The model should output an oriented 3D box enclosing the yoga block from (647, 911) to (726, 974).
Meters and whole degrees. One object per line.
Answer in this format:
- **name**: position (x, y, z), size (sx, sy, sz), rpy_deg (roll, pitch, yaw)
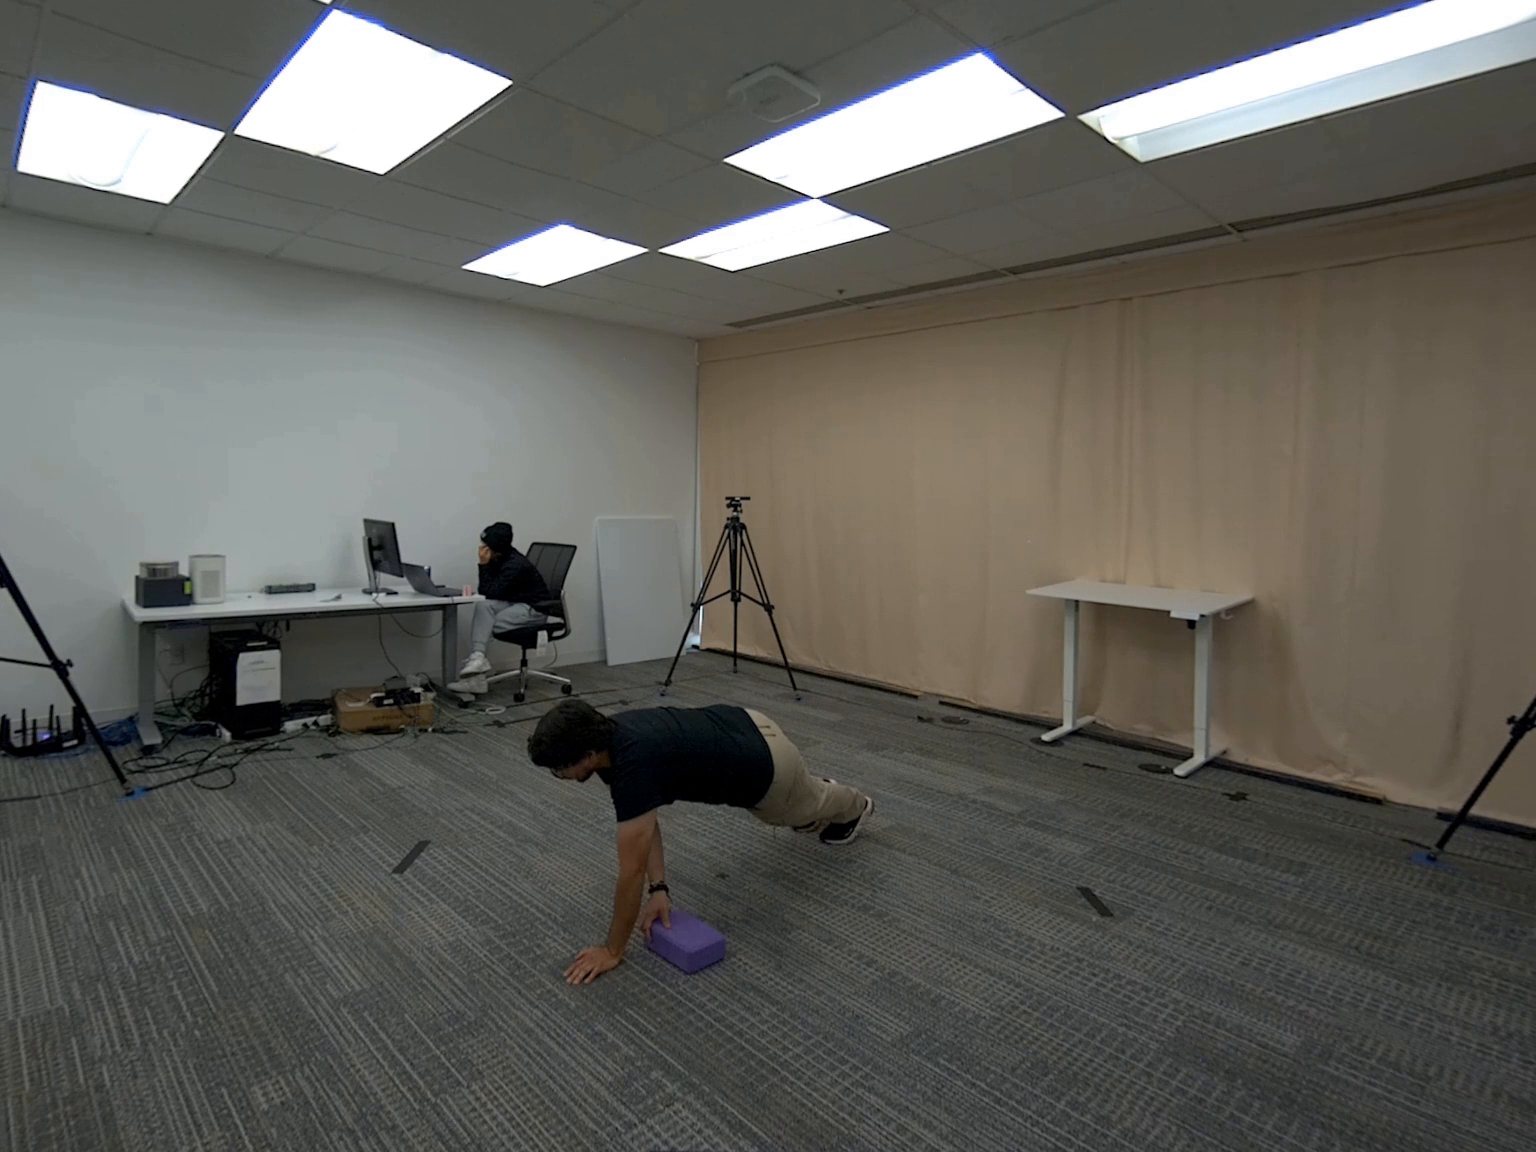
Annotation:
- **yoga block**: position (-0.256, 1.117, 2.566), size (0.146, 0.076, 0.235), rpy_deg (-5, 7, -42)
